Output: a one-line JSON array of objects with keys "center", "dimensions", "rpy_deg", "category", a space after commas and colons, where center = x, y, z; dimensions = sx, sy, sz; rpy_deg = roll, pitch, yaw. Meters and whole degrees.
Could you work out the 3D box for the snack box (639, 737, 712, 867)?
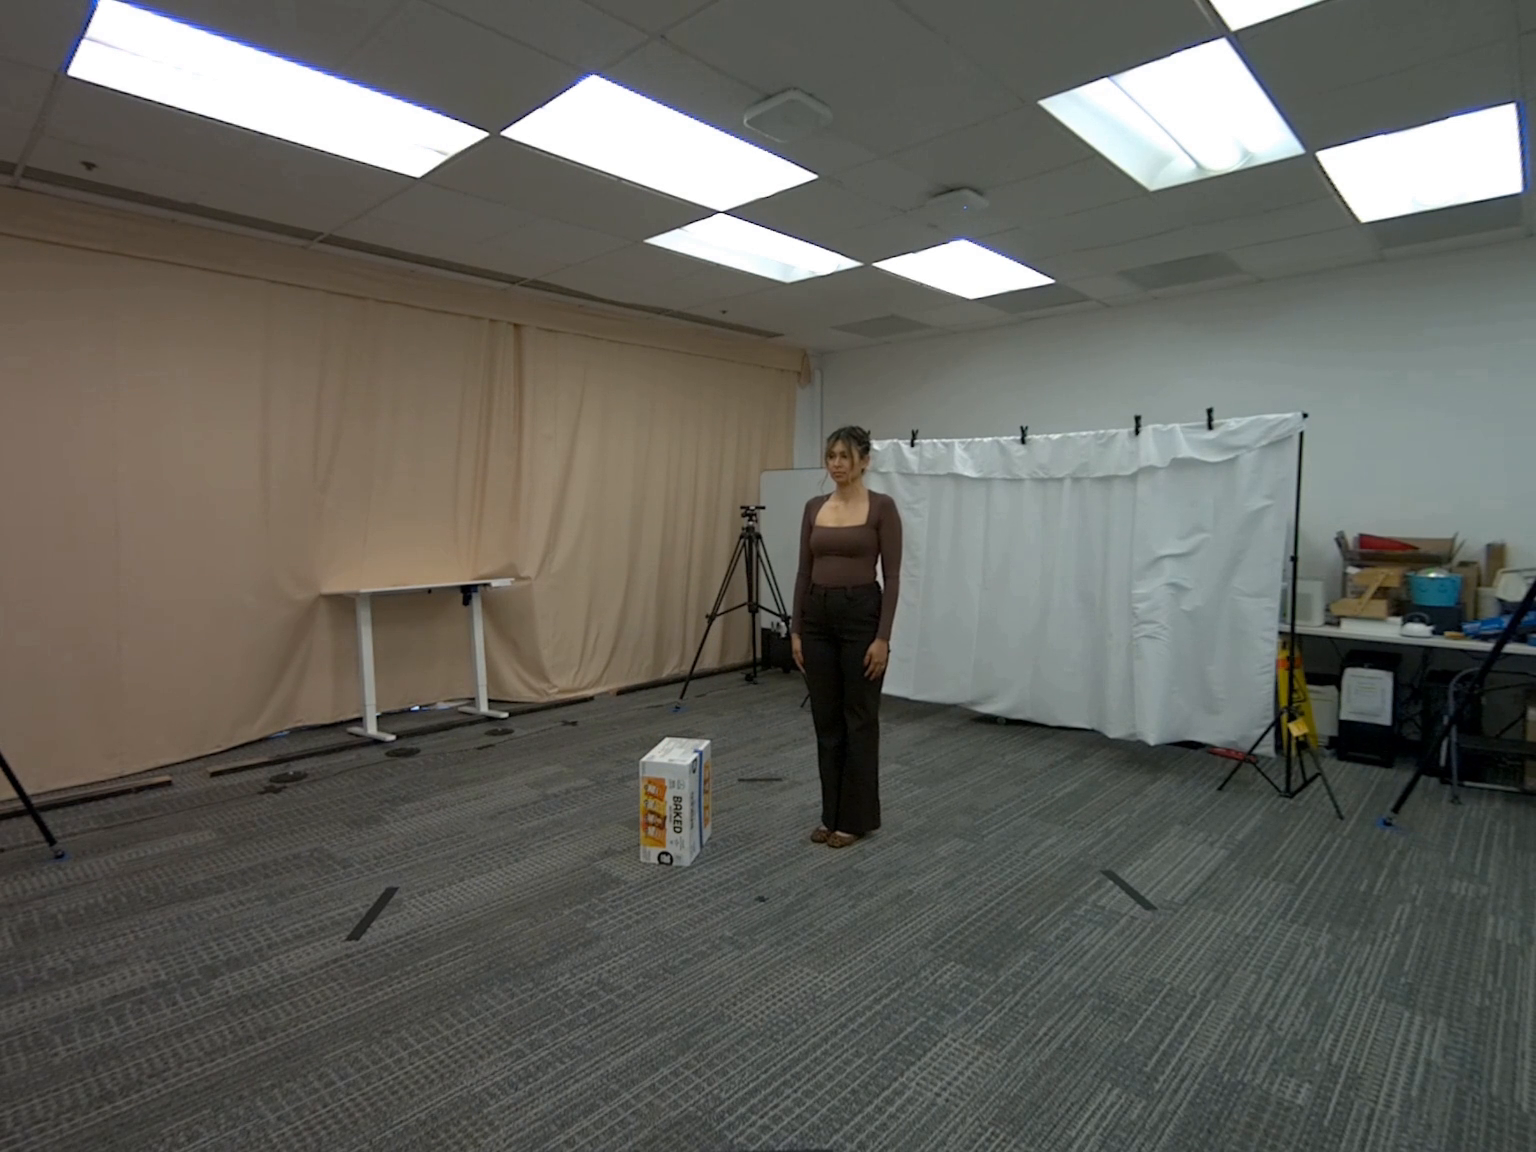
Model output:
[{"center": [-0.371, 0.909, 3.429], "dimensions": [0.209, 0.404, 0.336], "rpy_deg": [0, 3, 12], "category": "snack box"}]
